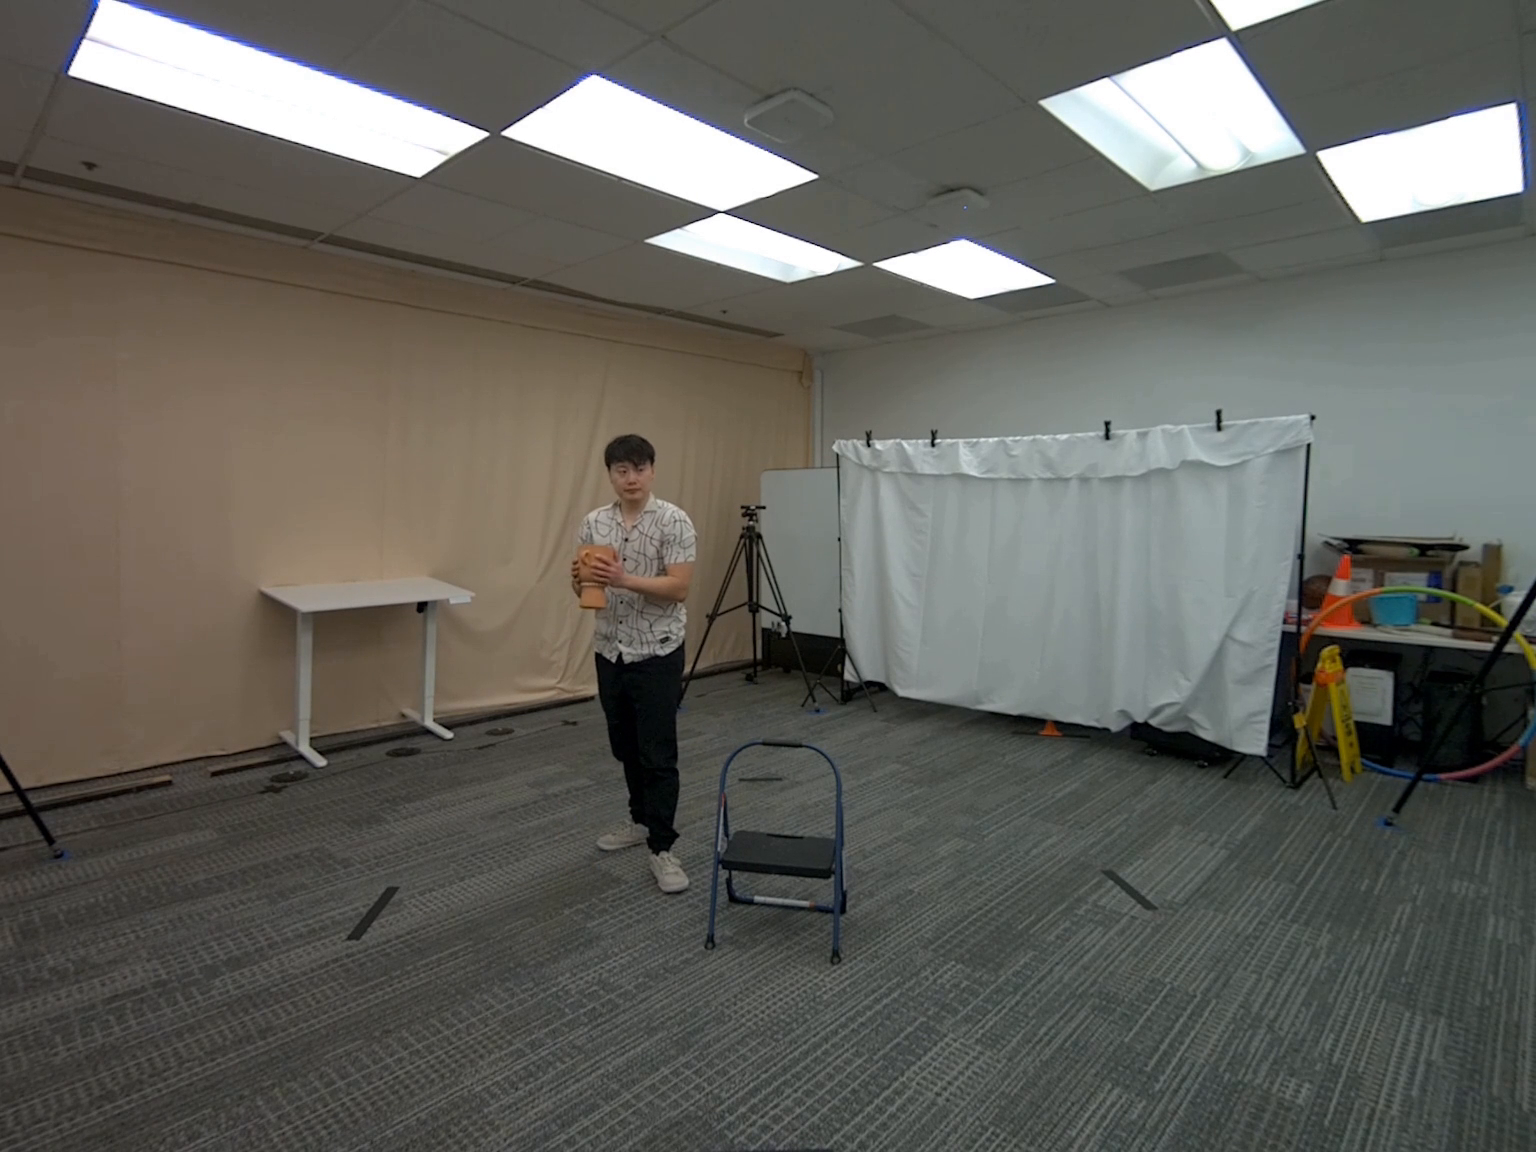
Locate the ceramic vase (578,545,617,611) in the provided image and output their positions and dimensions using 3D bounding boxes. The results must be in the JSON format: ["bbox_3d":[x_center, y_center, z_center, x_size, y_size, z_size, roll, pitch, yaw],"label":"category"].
[{"bbox_3d":[-0.624,0.004,3.042,0.154,0.220,0.138,6,-8,-34],"label":"ceramic vase"}]
